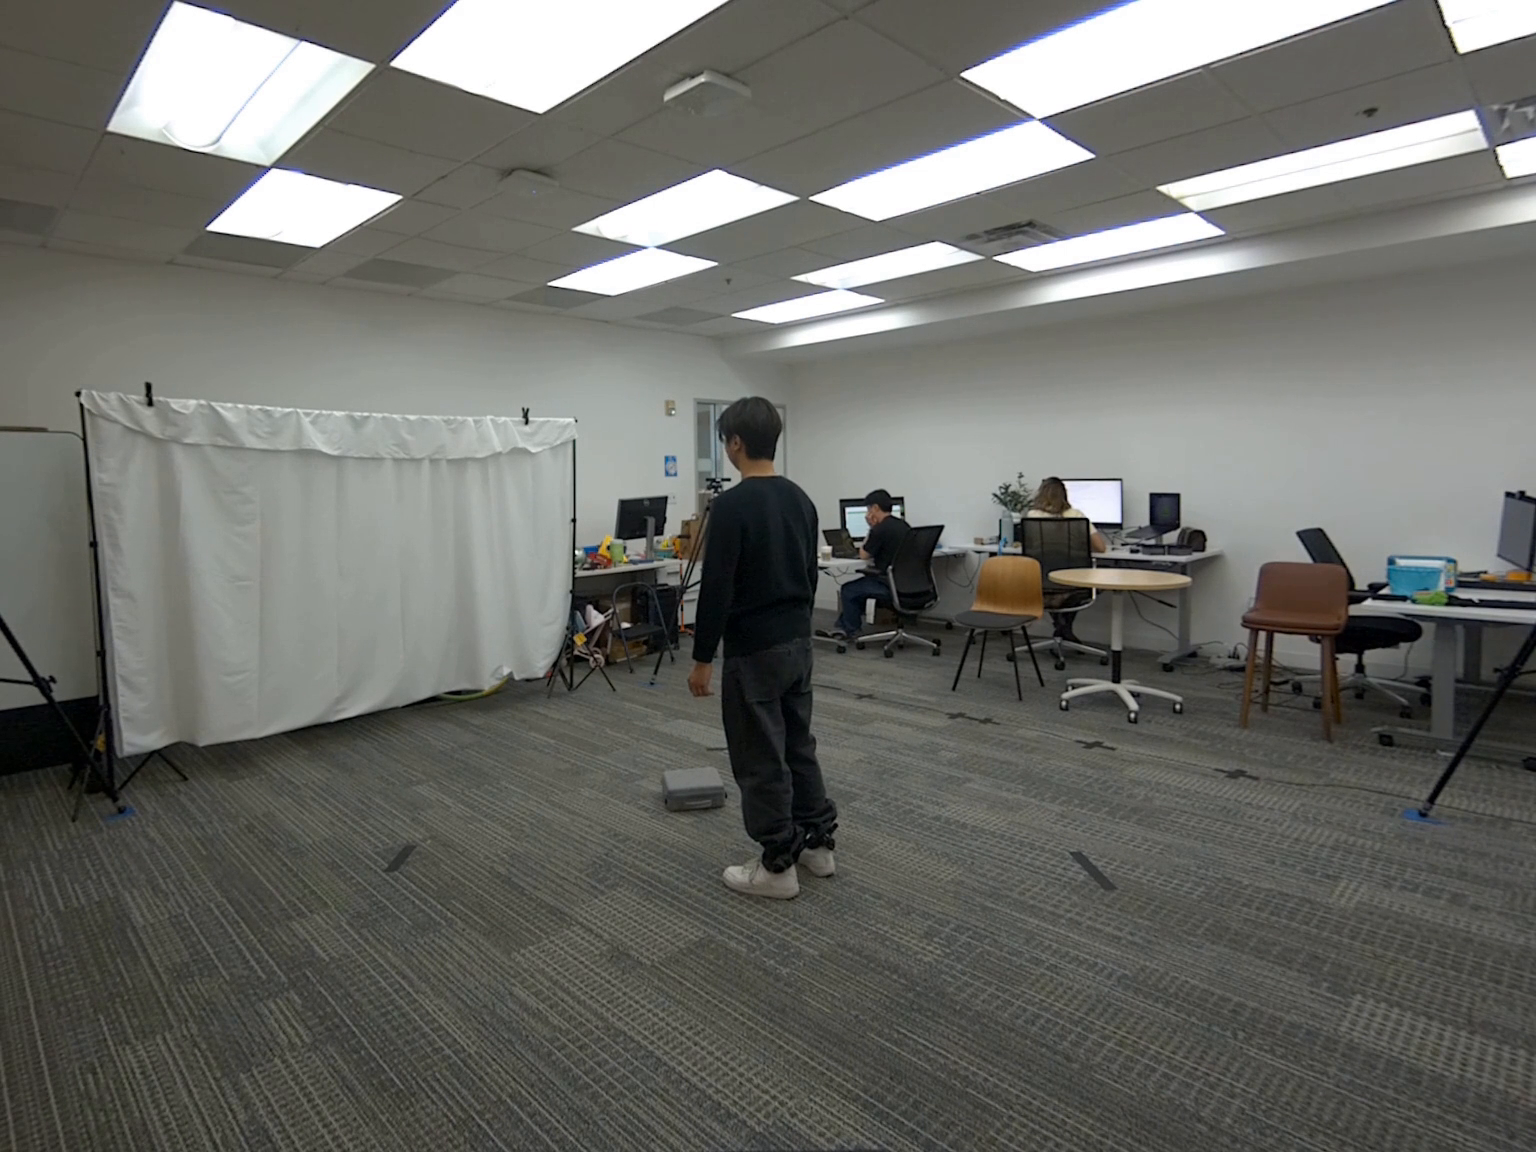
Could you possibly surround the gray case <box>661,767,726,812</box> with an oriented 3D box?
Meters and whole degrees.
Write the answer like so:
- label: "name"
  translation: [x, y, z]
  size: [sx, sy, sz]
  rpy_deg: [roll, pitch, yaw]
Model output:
- label: "gray case"
  translation: [-0.324, 0.922, 3.722]
  size: [0.254, 0.104, 0.265]
  rpy_deg: [-2, 7, -11]
